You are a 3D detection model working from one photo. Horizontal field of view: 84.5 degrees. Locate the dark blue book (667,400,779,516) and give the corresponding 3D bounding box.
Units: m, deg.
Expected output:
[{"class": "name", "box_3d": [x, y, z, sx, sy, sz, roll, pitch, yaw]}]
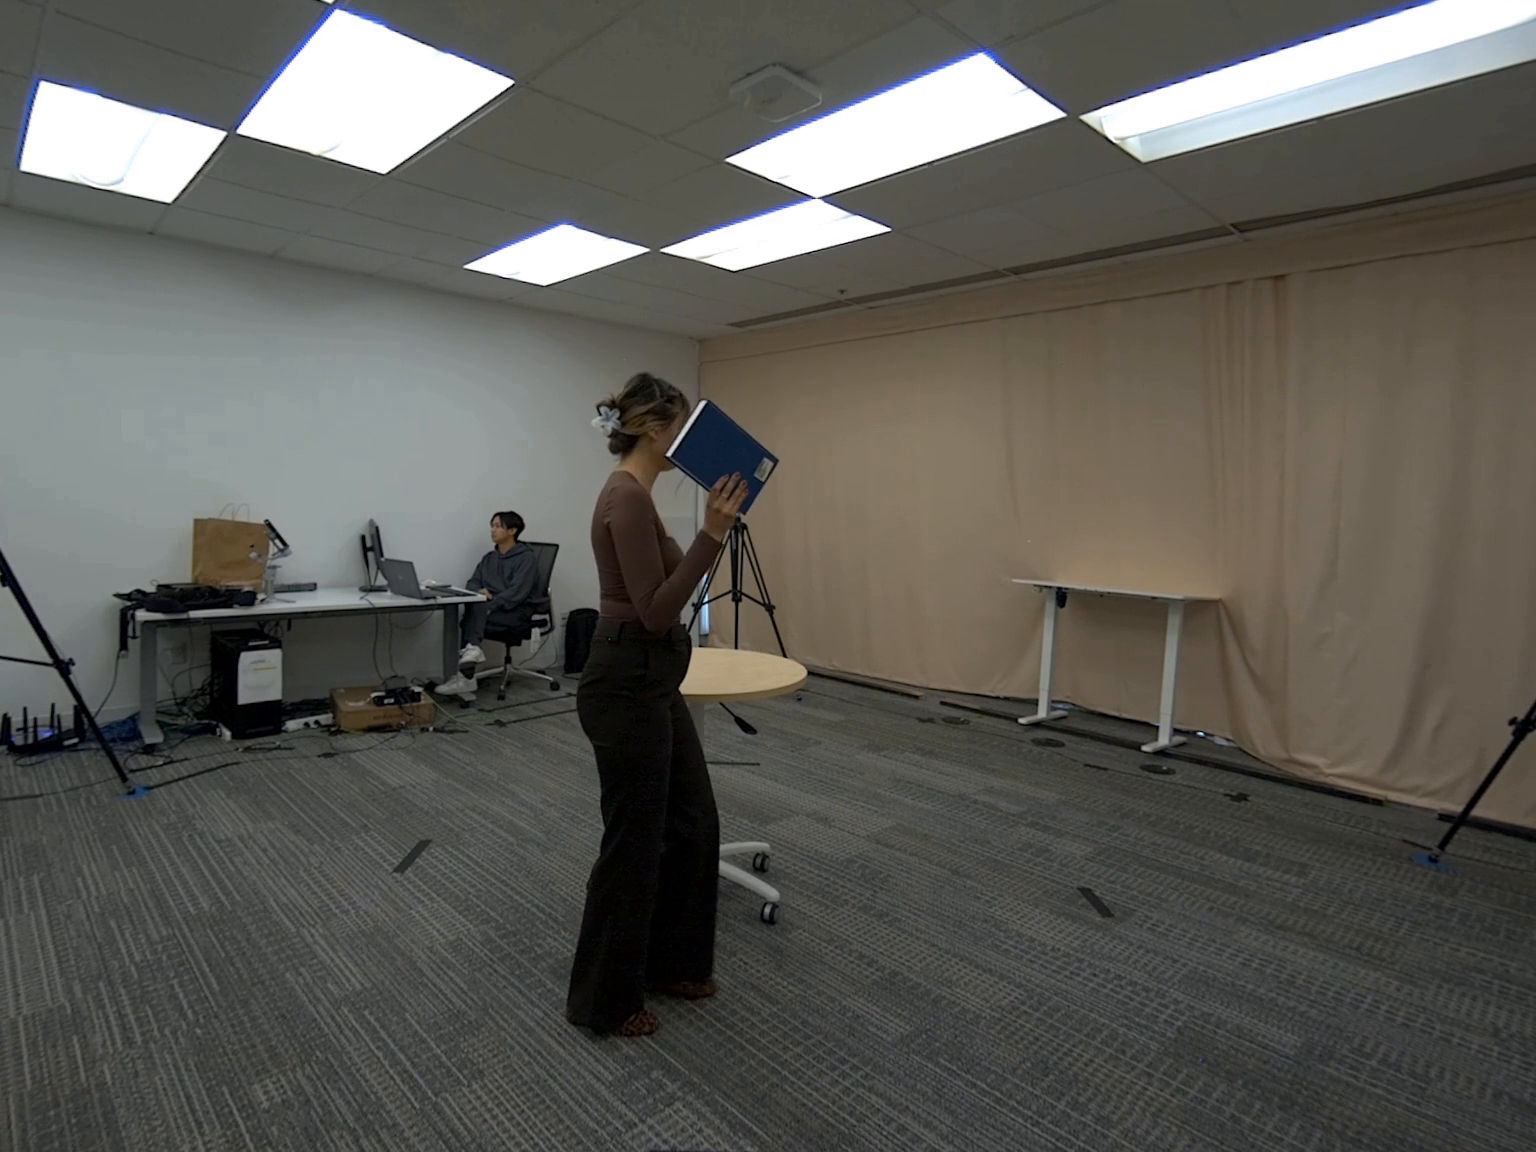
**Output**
[{"class": "dark blue book", "box_3d": [-0.111, -0.274, 1.961, 0.239, 0.163, 0.046, 37, -8, -27]}]
